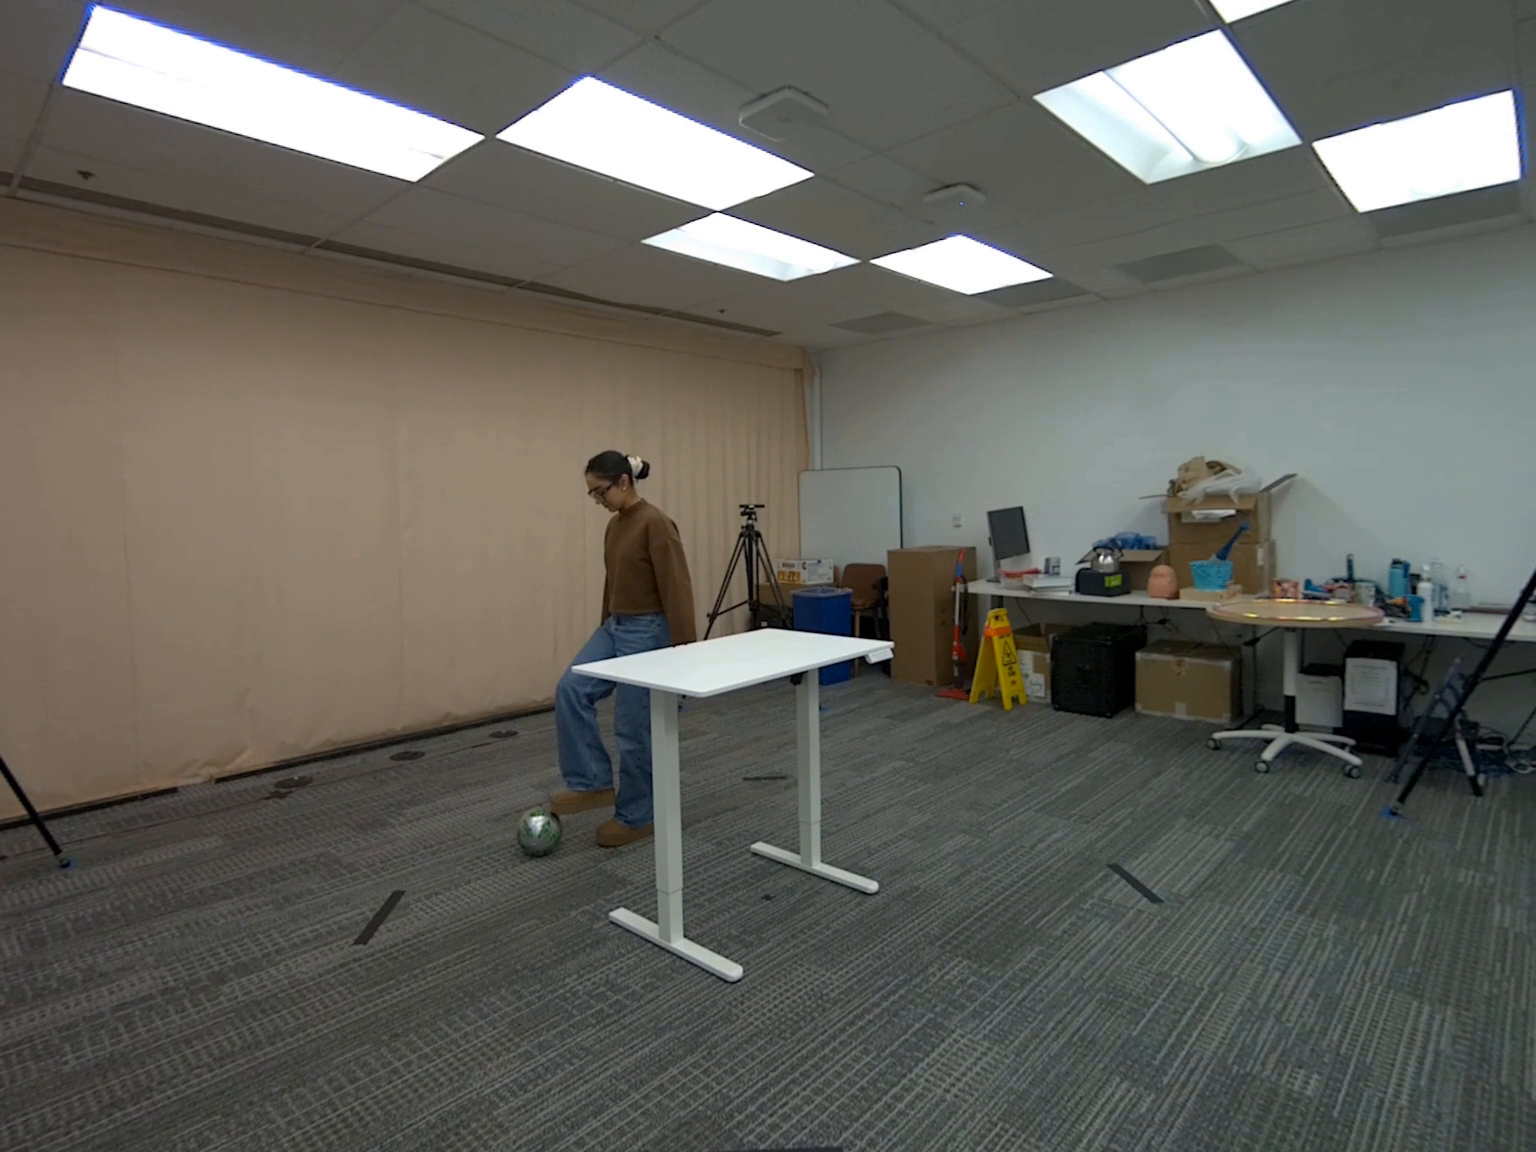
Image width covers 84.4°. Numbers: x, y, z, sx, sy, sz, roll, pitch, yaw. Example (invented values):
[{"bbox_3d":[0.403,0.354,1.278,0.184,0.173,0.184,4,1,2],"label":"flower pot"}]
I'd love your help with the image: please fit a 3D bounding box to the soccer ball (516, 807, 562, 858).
[{"bbox_3d":[-0.931,1.036,3.408,0.187,0.187,0.188,-1,4,-2],"label":"soccer ball"}]
